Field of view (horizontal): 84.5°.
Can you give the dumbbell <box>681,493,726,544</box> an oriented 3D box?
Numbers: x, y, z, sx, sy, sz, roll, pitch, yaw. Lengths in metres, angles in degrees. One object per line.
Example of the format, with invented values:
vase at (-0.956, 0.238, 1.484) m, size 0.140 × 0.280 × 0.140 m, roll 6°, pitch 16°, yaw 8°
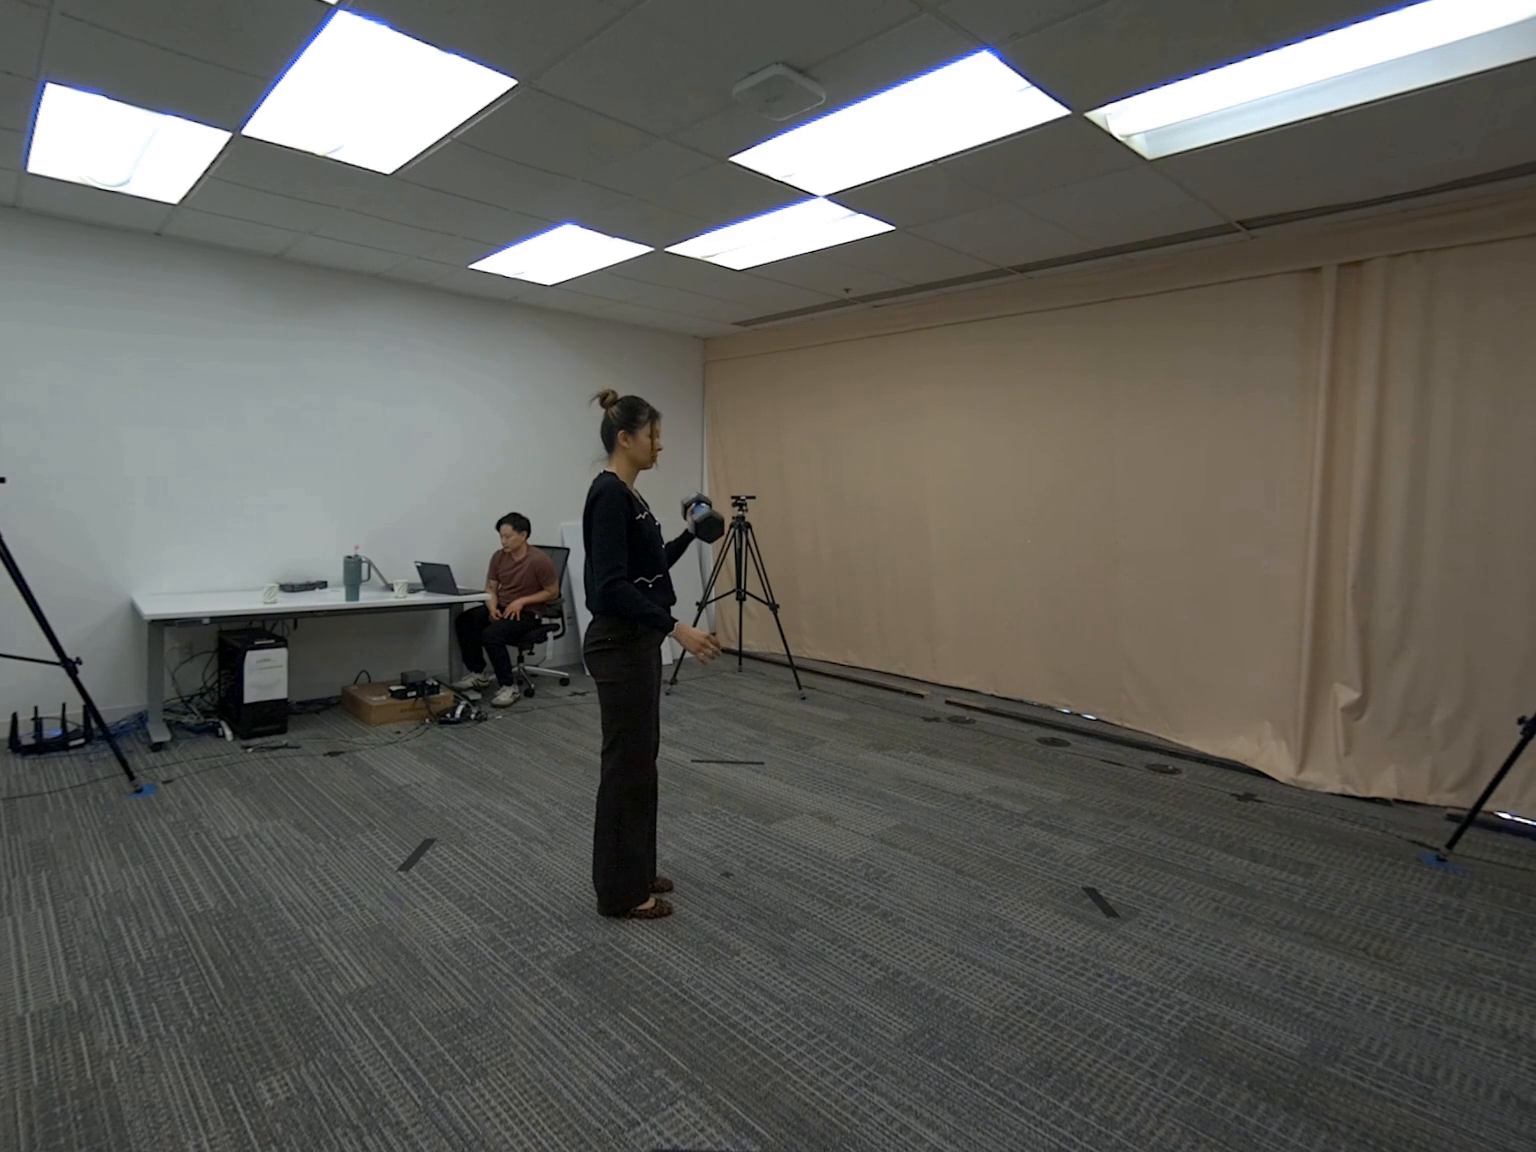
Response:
dumbbell at (-0.254, -0.211, 3.050) m, size 0.123 × 0.106 × 0.300 m, roll -33°, pitch 24°, yaw 0°
